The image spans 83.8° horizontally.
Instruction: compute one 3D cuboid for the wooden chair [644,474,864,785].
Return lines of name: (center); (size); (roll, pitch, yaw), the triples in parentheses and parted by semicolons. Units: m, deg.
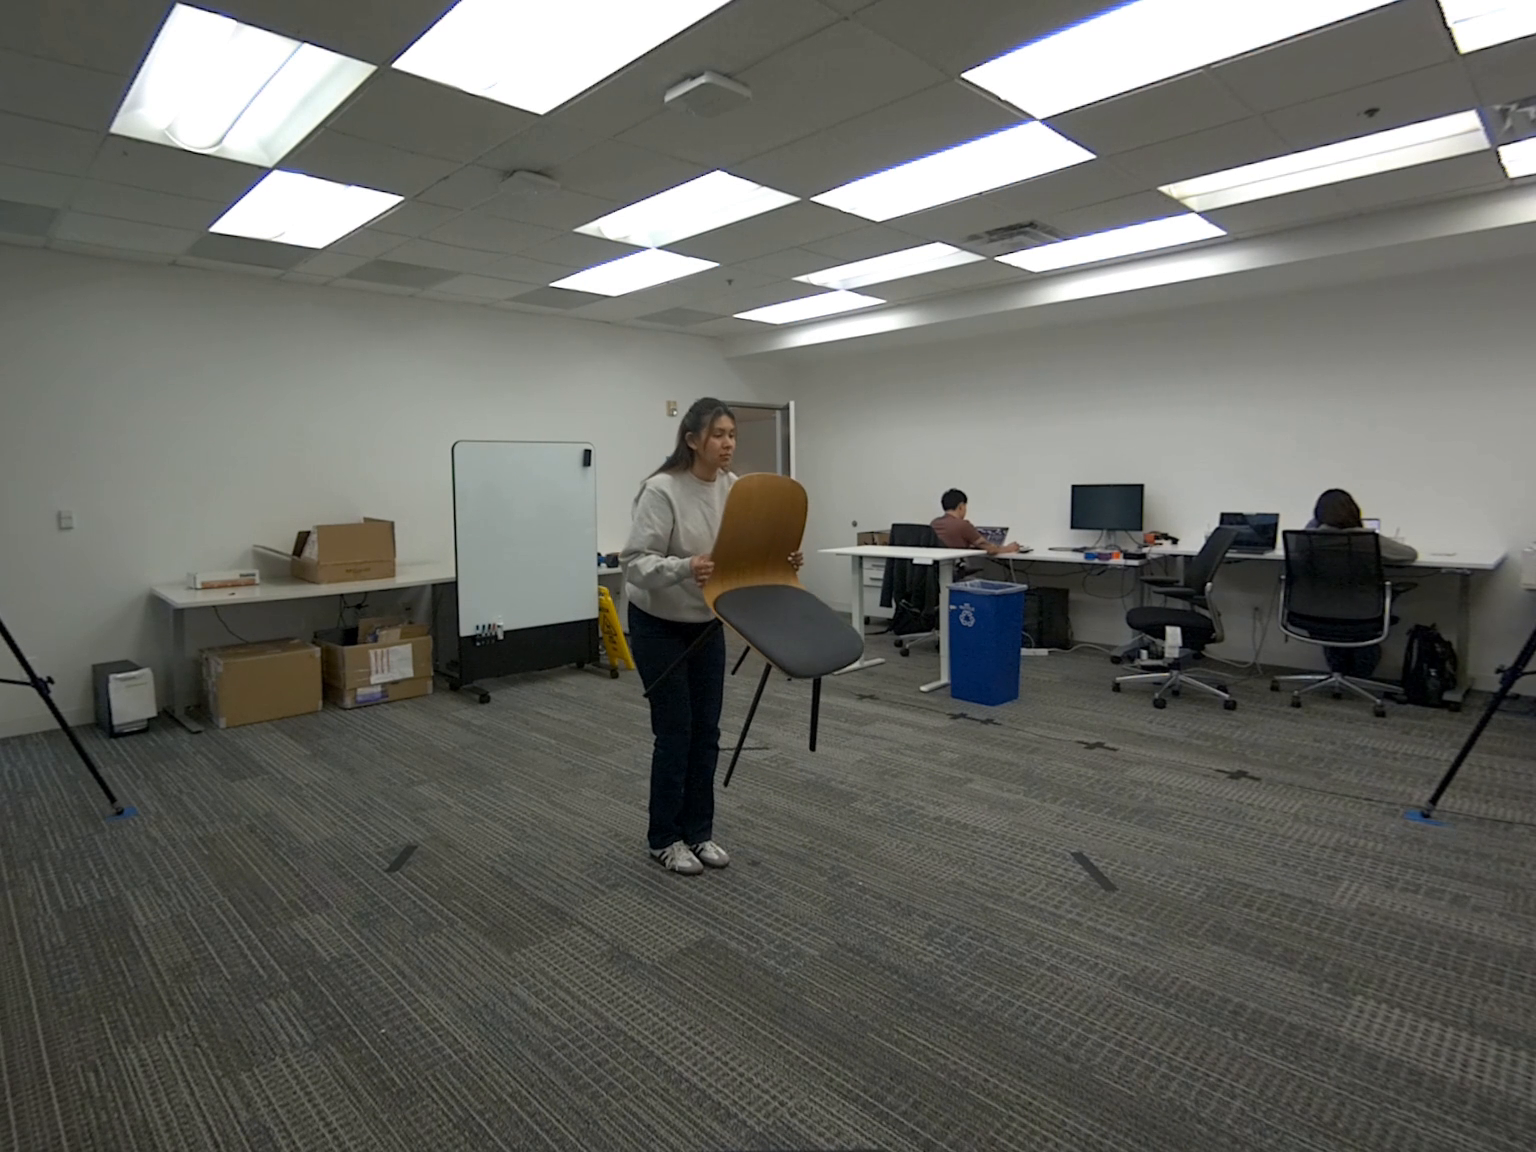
wooden chair: (0.028, 0.175, 2.797); (0.543, 0.867, 0.466); (34, 26, 35)
